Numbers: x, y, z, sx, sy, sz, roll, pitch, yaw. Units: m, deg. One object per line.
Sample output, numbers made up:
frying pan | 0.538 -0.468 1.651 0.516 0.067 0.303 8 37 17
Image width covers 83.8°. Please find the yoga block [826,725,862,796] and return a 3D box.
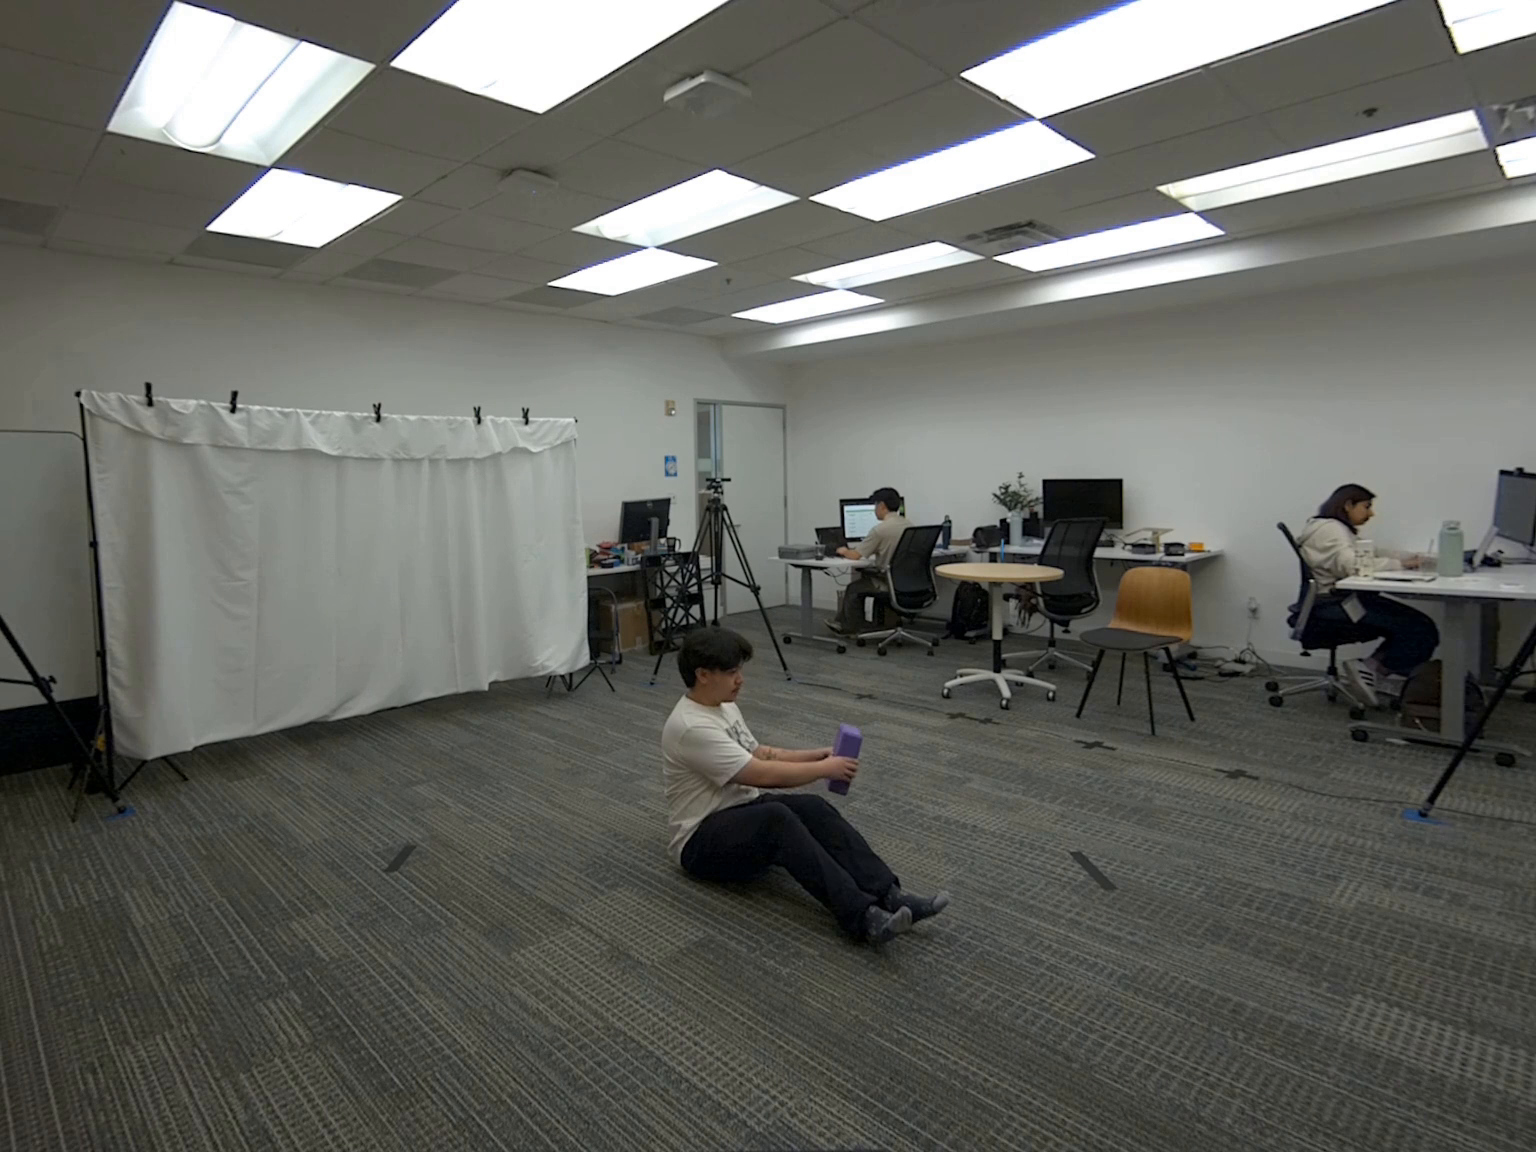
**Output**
yoga block | 0.281 0.681 3.175 0.077 0.229 0.148 12 0 1
